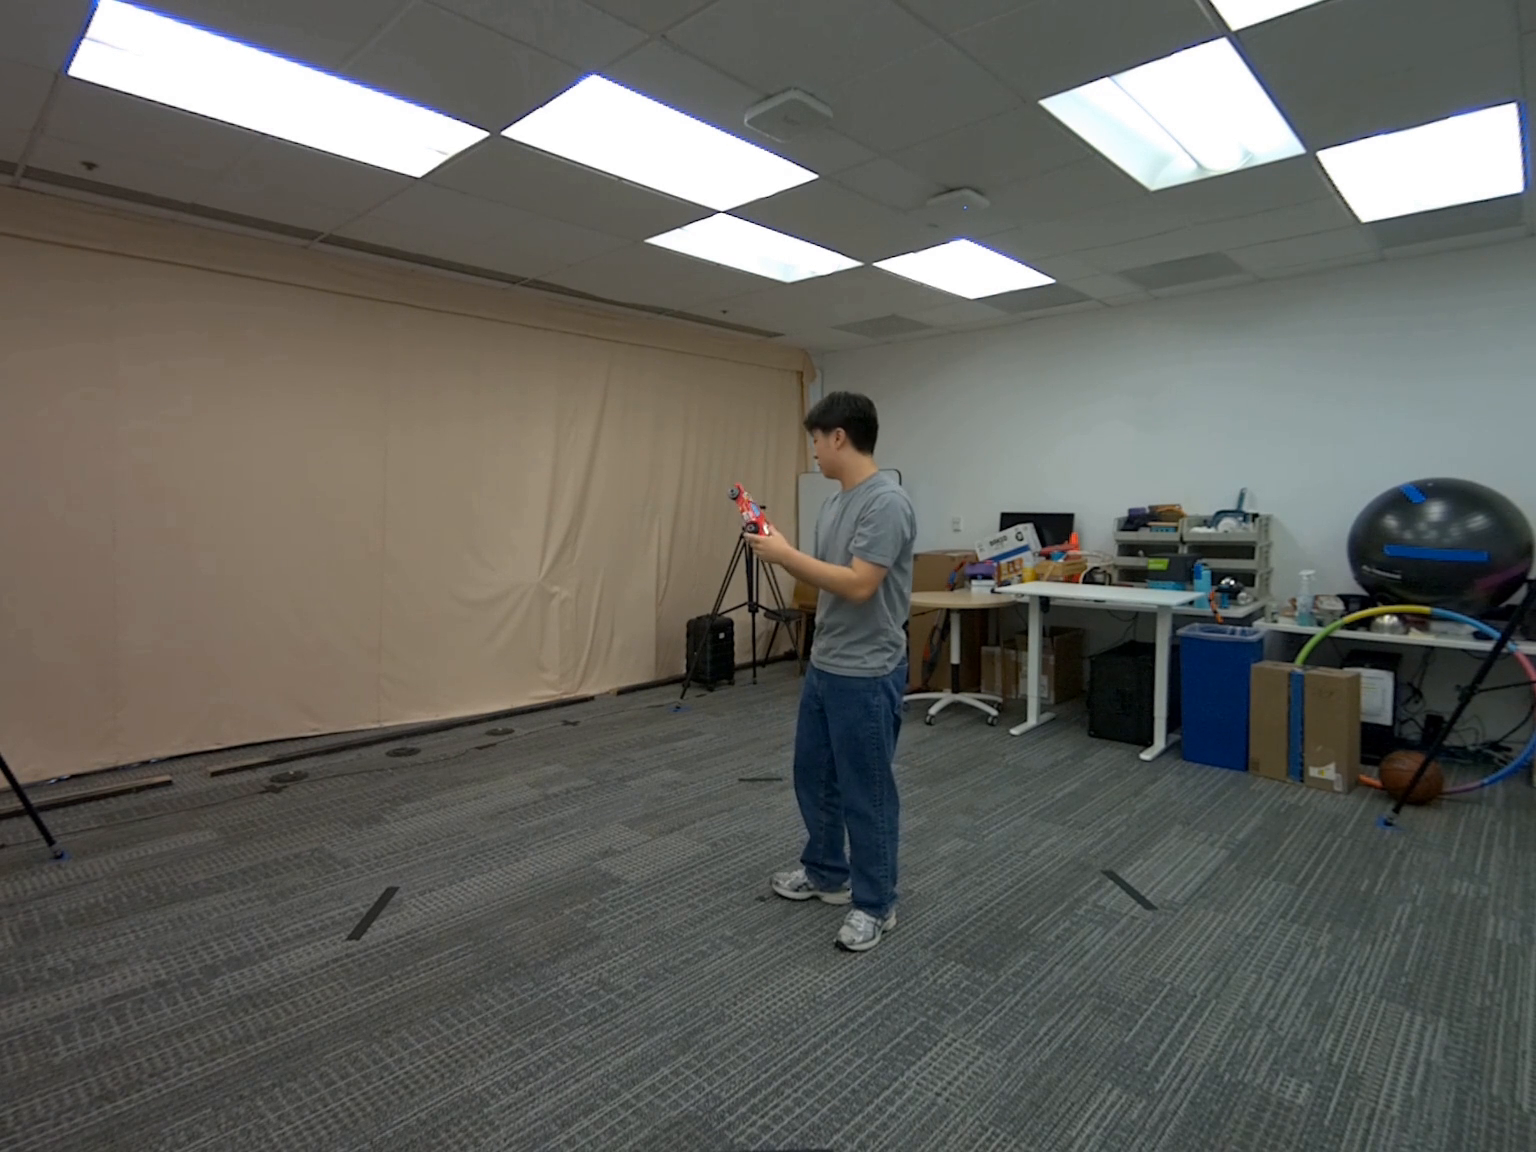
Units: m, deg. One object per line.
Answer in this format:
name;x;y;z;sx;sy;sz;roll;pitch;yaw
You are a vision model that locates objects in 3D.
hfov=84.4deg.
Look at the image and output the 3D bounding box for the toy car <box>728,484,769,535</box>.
toy car;-0.039;-0.179;2.708;0.083;0.262;0.126;-38;-27;5
